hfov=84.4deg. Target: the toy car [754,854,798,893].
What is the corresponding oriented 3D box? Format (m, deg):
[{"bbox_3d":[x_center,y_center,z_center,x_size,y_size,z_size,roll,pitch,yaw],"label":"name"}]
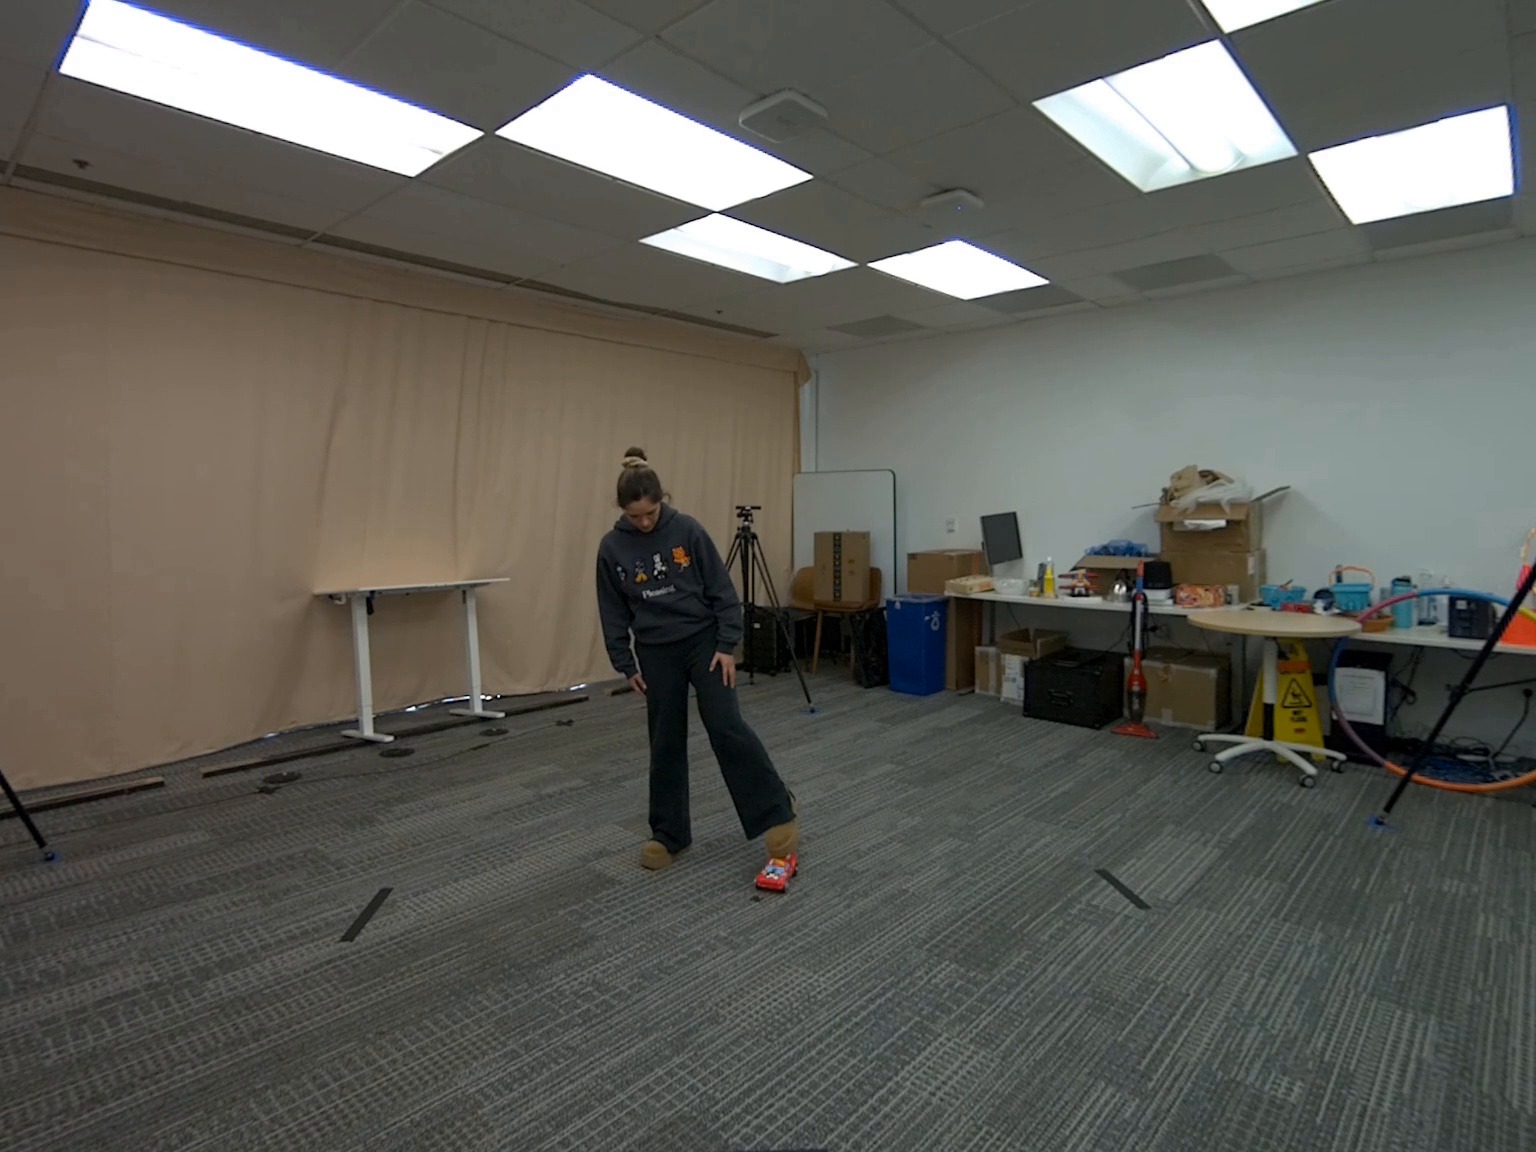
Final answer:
[{"bbox_3d":[0.061,1.098,3.134,0.133,0.082,0.252,-1,14,18],"label":"toy car"}]
